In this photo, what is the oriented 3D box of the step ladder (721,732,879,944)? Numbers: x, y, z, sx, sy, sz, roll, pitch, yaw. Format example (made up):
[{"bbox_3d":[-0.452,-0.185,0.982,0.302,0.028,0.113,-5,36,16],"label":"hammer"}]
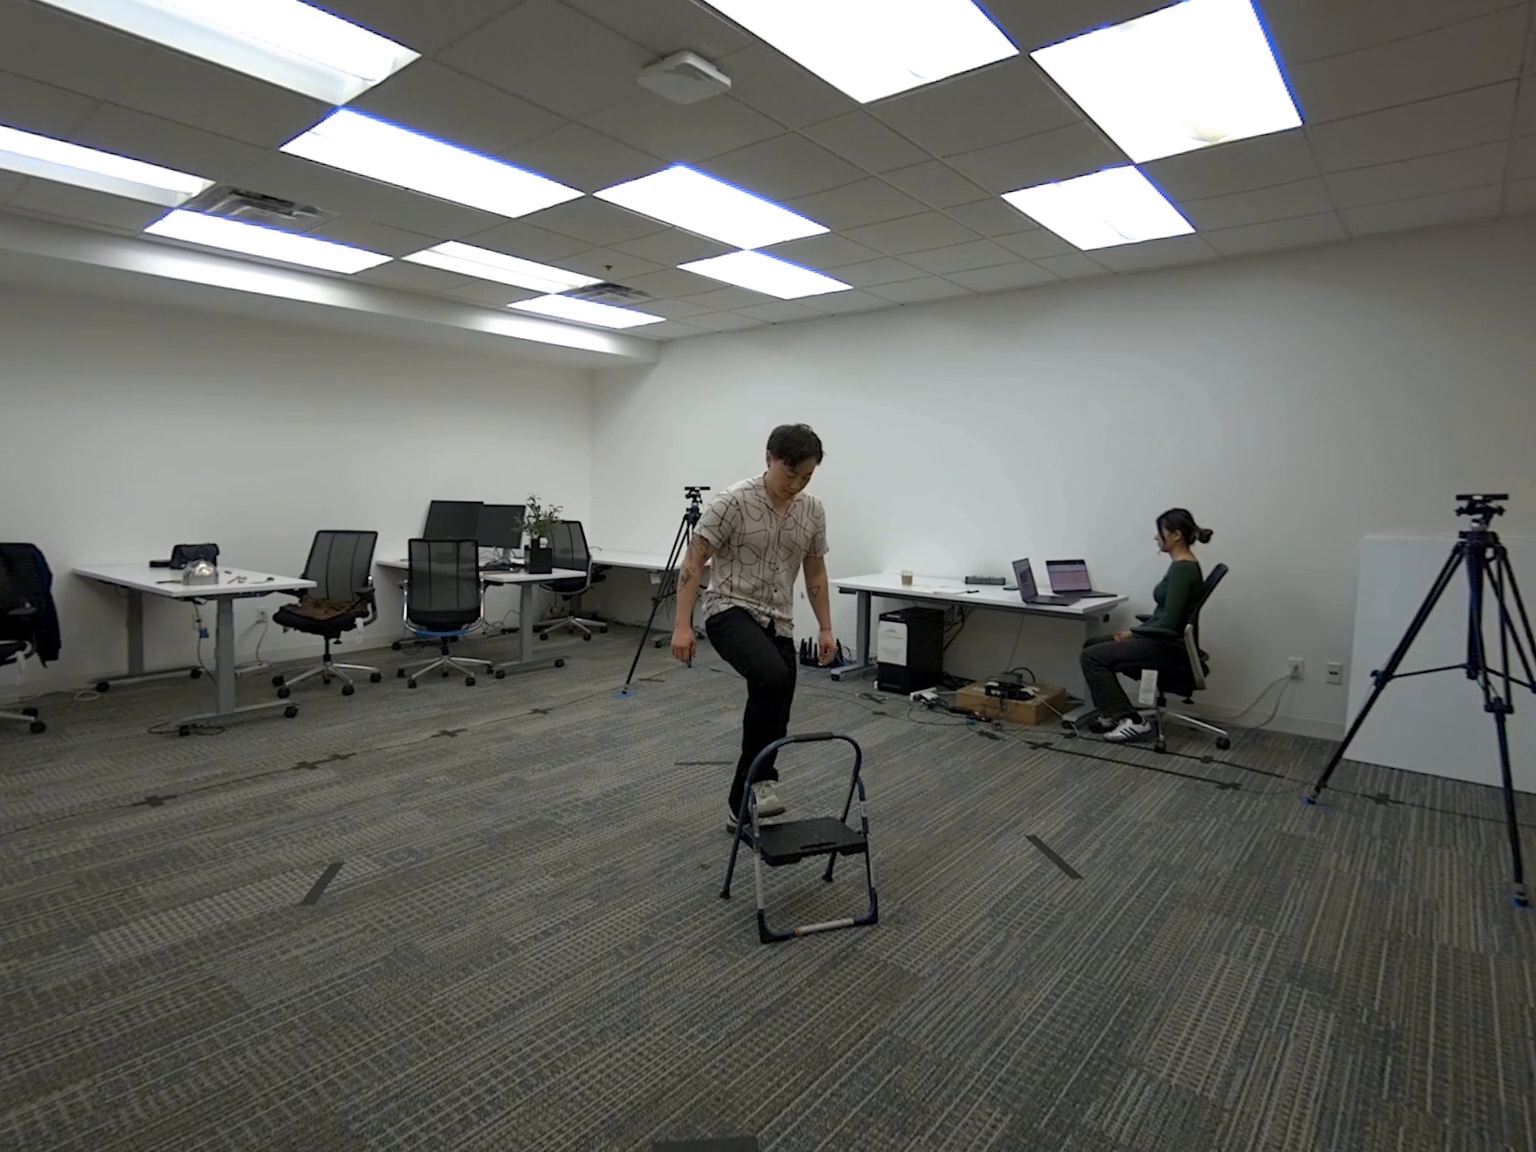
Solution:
[{"bbox_3d":[0.098,0.796,2.806,0.421,0.604,0.358,0,4,-23],"label":"step ladder"}]
